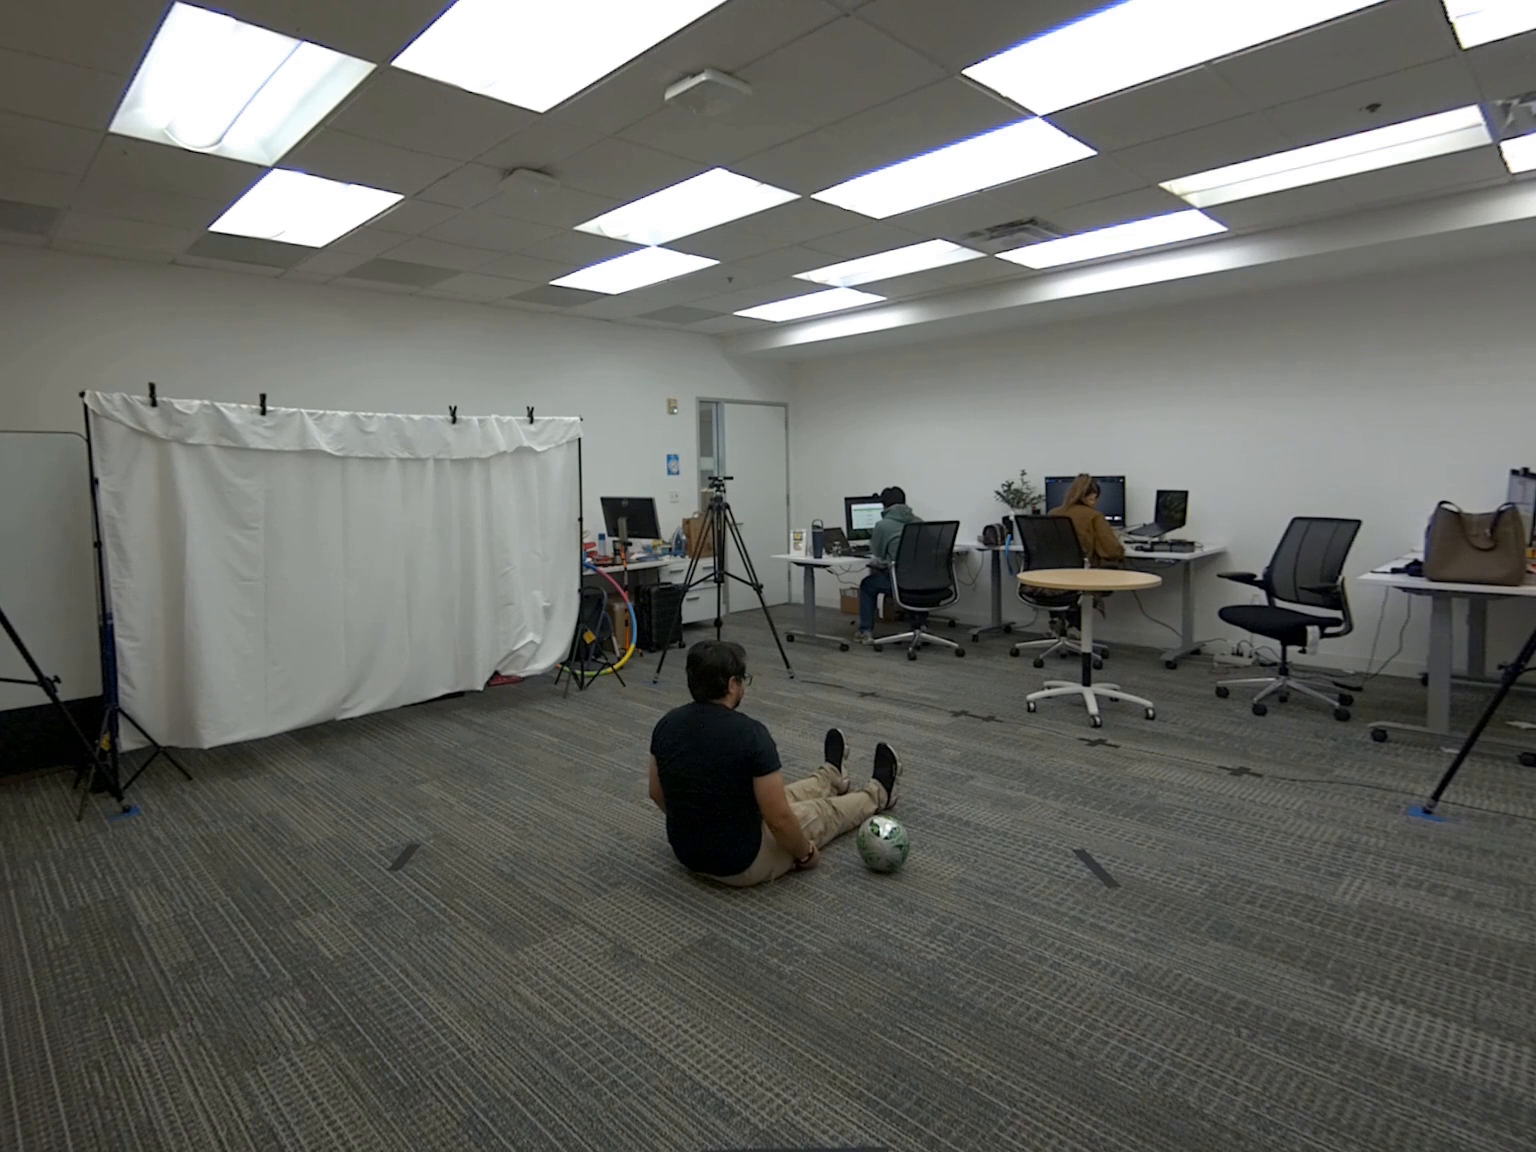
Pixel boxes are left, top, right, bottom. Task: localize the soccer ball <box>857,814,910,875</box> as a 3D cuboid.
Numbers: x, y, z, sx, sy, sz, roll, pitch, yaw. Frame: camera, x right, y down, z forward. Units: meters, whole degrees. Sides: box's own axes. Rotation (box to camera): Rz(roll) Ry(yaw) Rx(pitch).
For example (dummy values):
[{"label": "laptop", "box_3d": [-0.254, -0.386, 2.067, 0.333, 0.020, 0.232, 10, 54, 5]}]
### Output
[{"label": "soccer ball", "box_3d": [0.405, 0.936, 3.010, 0.187, 0.187, 0.188, -1, 4, -2]}]
